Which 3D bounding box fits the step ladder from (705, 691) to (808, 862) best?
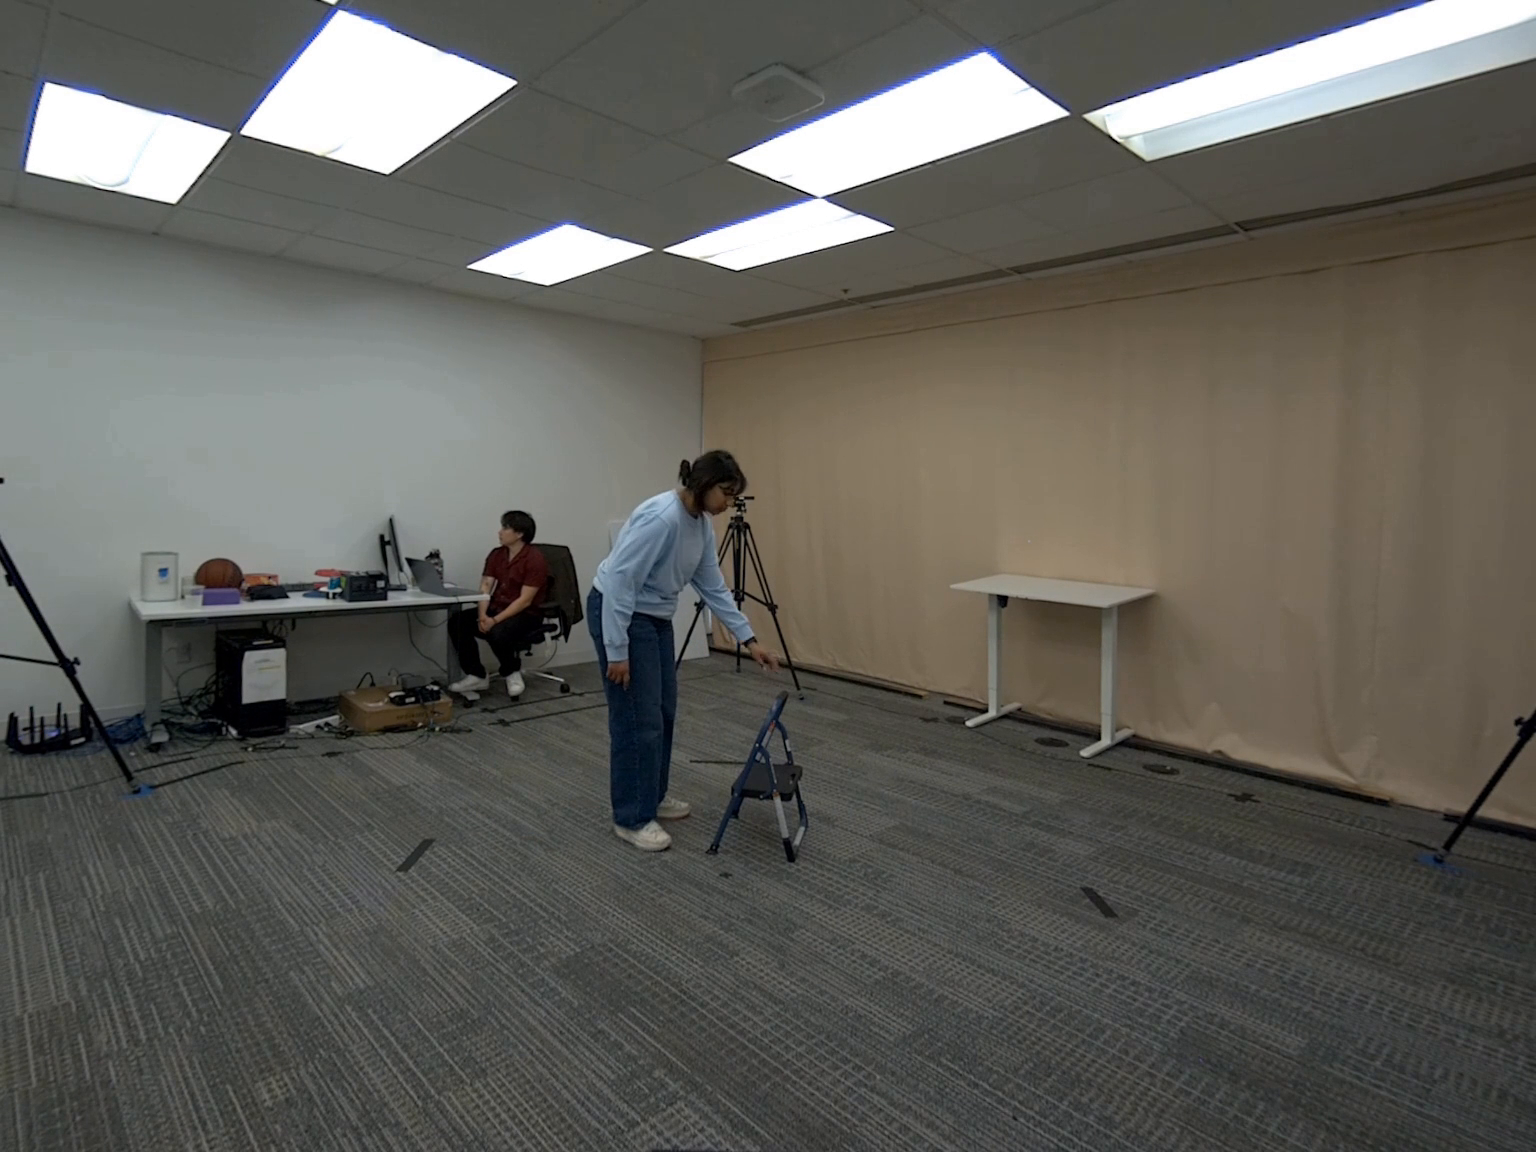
[{"bbox_3d":[-0.032,0.778,3.443,0.352,0.604,0.428,1,4,11],"label":"step ladder"}]
